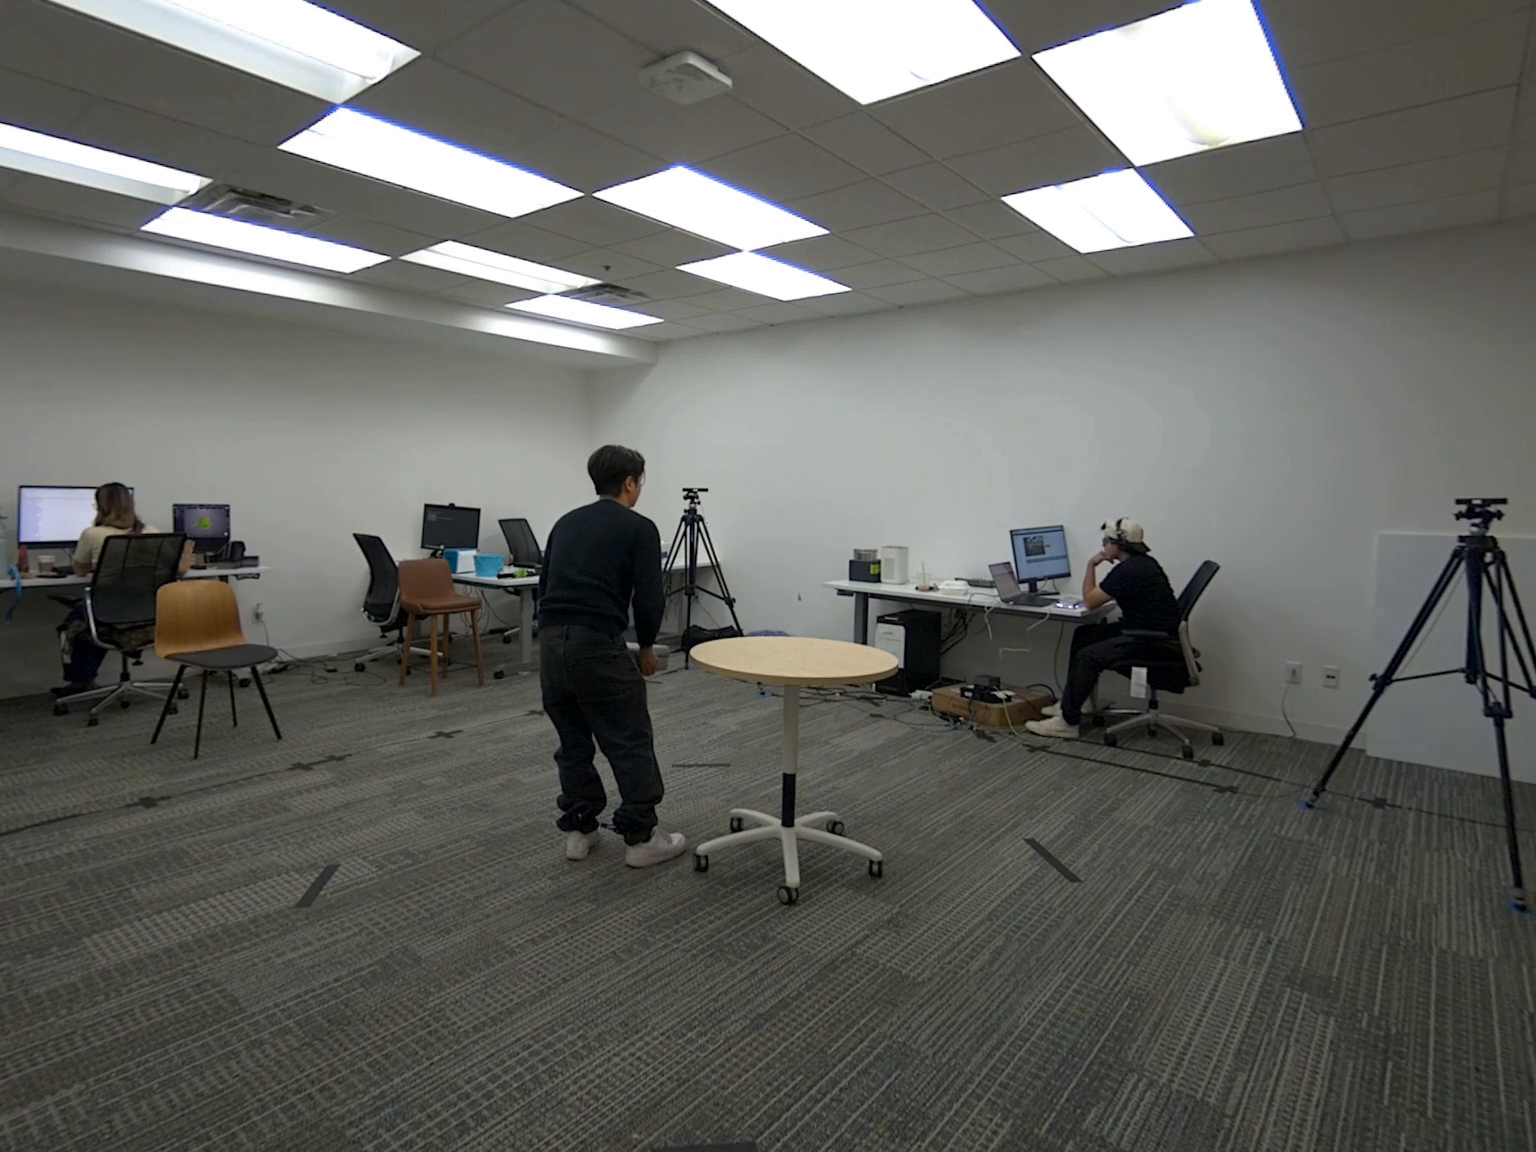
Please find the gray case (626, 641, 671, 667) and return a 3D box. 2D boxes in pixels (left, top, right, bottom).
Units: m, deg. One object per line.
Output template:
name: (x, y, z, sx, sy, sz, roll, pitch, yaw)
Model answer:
gray case: (-0.569, 0.329, 3.451, 0.265, 0.104, 0.252, 2, -1, 33)
